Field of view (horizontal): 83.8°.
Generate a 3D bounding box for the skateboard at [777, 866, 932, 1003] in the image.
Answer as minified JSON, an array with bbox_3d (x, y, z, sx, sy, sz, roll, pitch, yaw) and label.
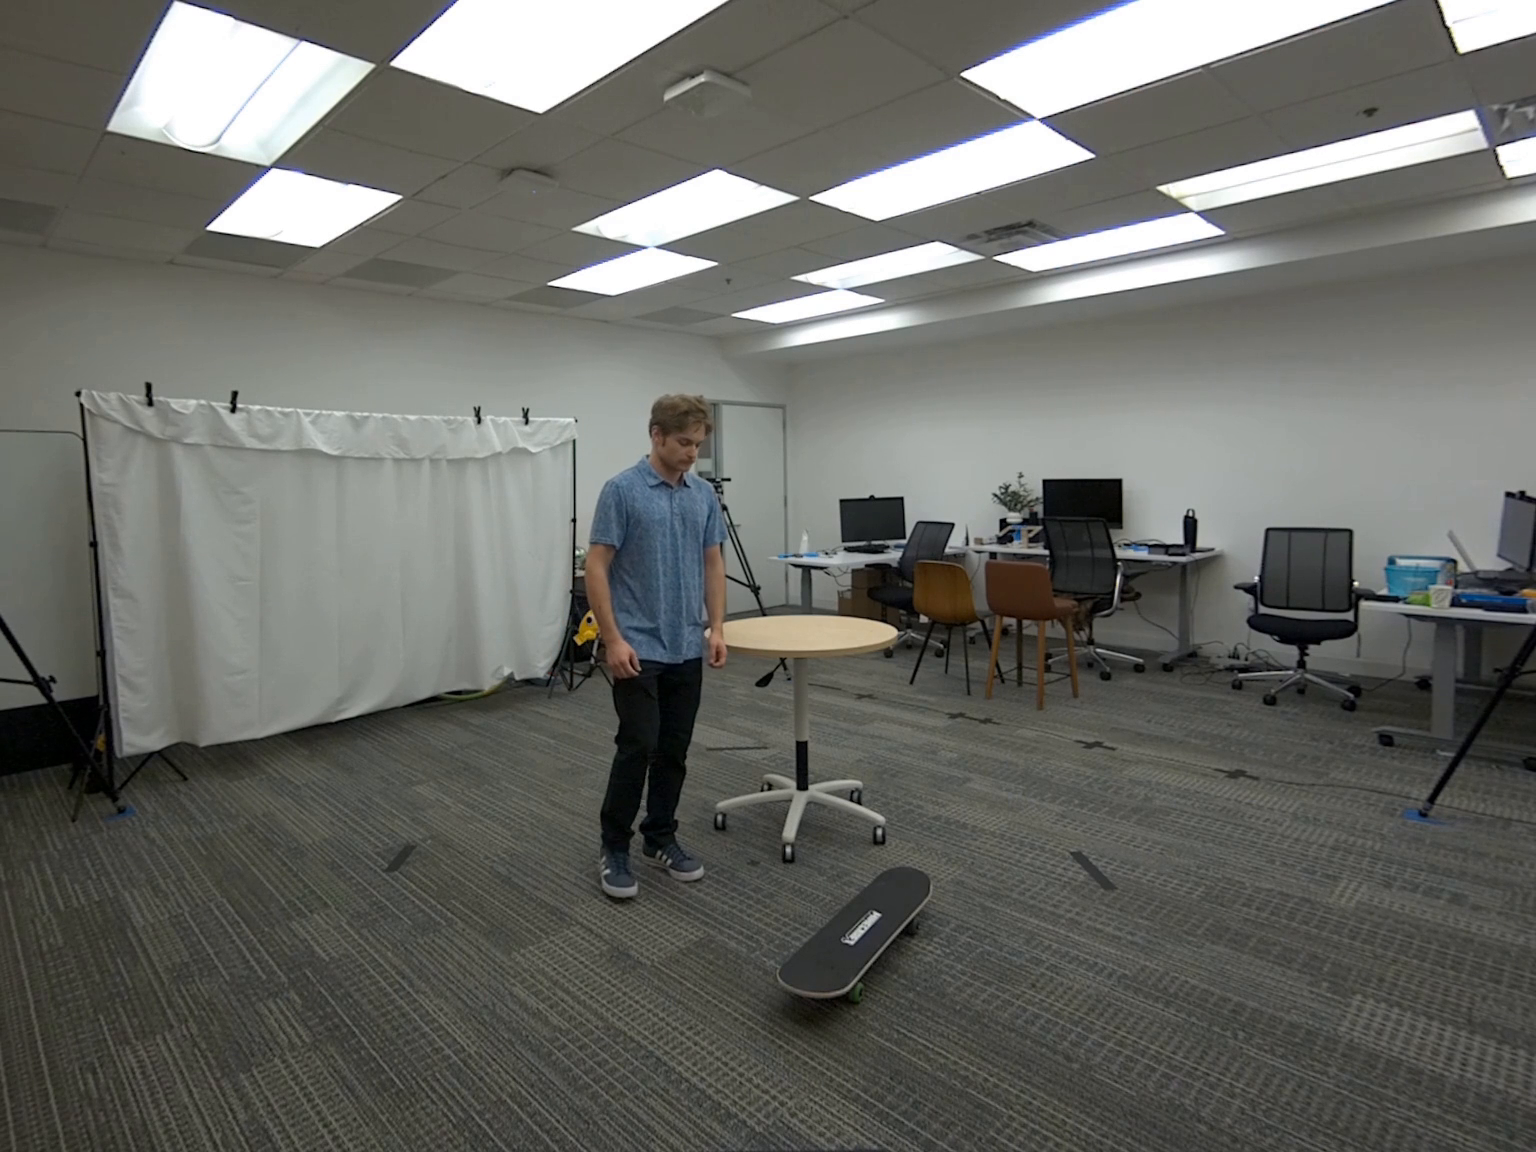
[{"bbox_3d":[0.282,1.049,2.483,0.199,0.110,0.768,3,8,32],"label":"skateboard"}]
